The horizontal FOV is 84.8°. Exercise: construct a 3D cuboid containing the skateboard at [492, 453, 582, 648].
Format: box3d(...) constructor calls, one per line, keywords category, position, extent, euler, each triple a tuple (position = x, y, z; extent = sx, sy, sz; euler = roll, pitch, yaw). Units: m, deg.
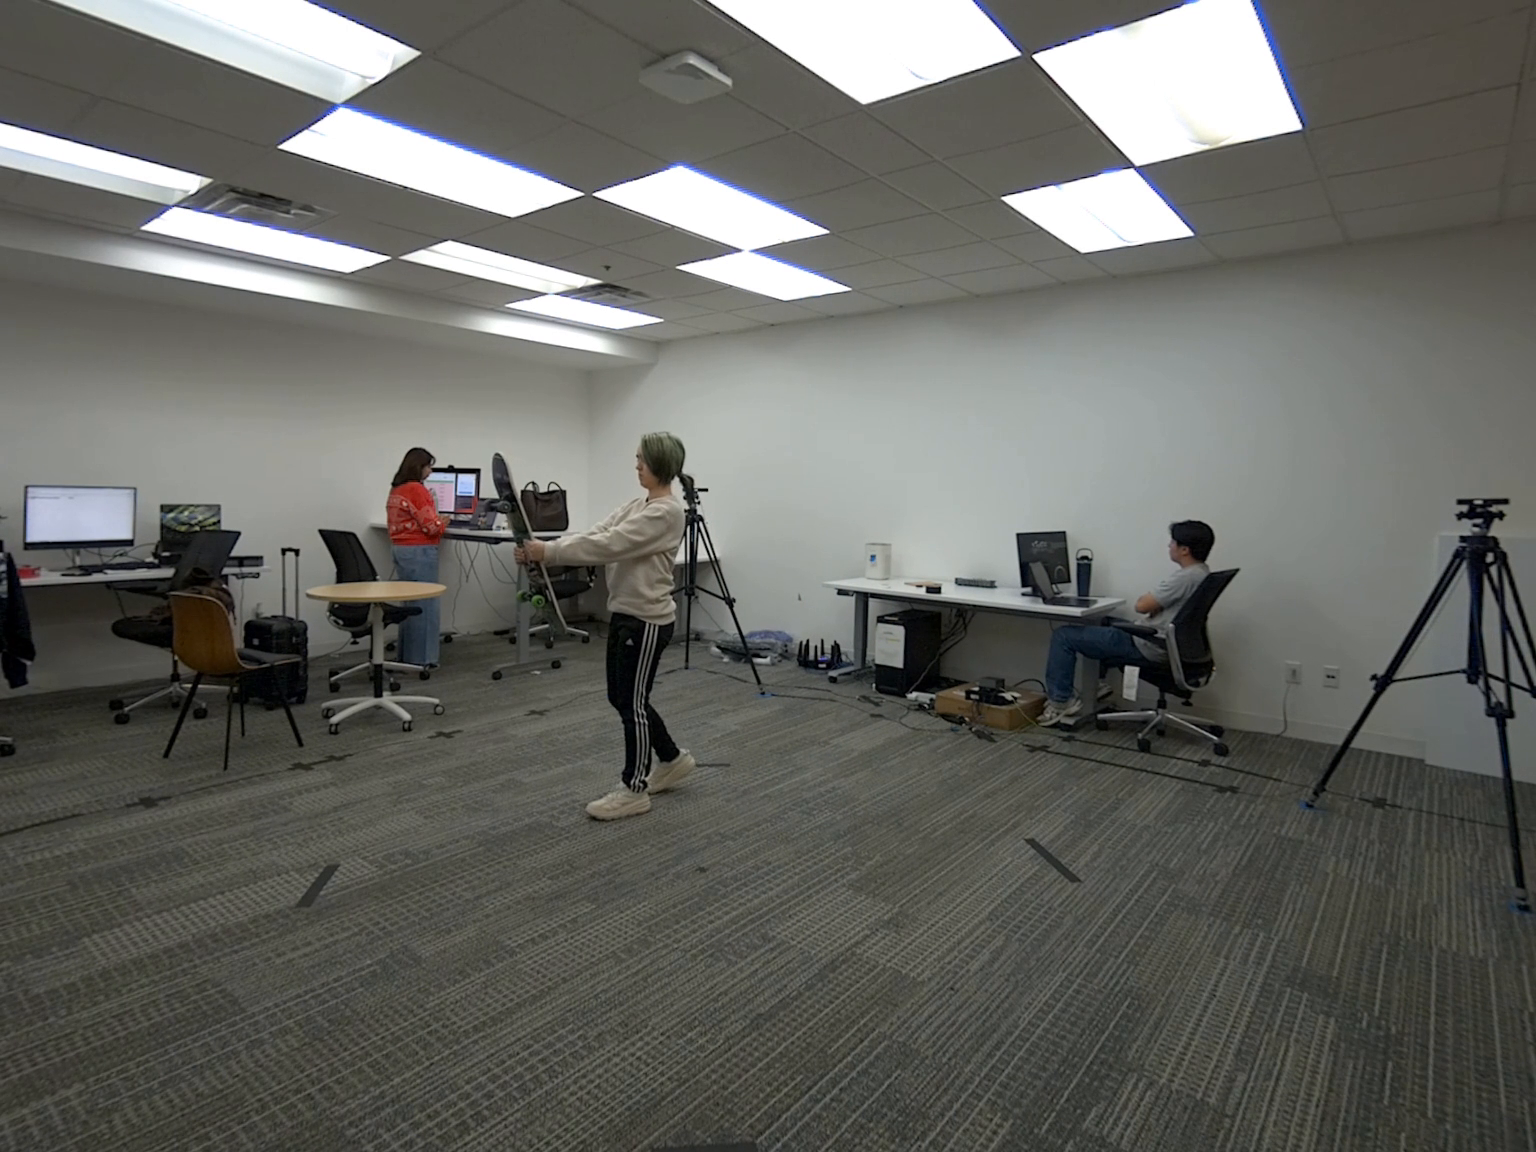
box3d(category="skateboard", position=(-0.994, -0.101, 3.378), extent=(0.109, 0.771, 0.200), euler=(-26, 18, -33))
